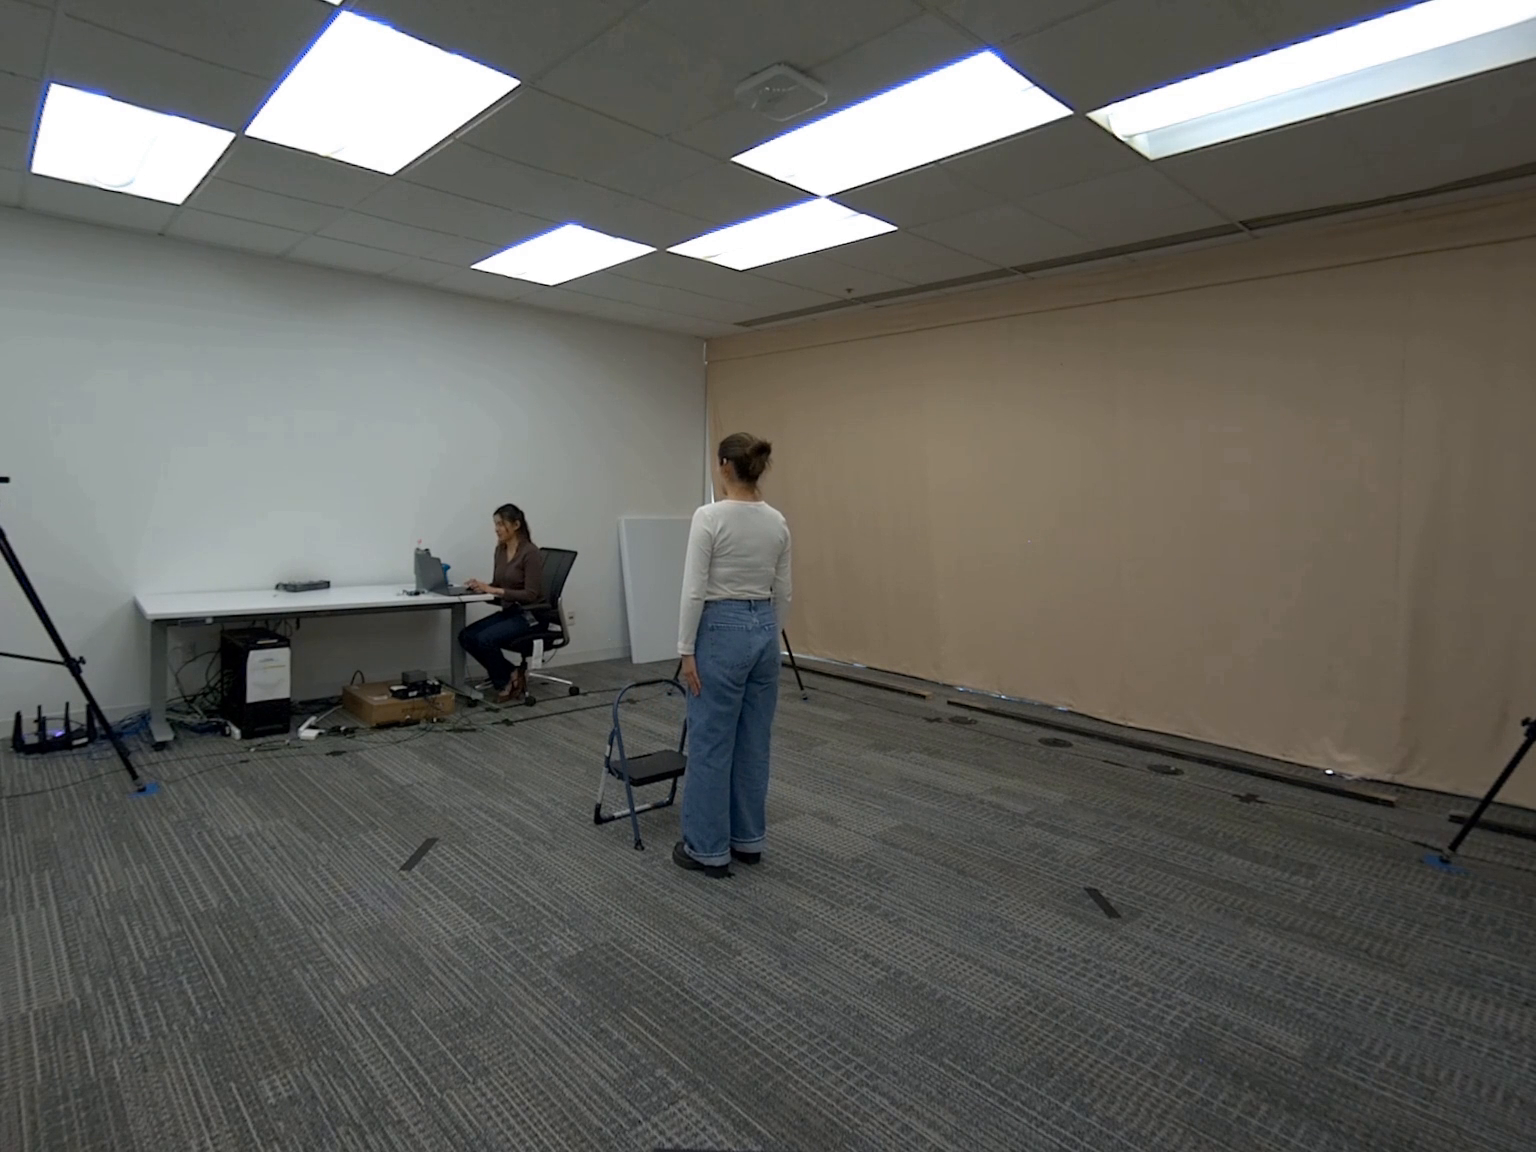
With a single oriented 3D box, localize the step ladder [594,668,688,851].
[{"bbox_3d":[-0.471,0.754,3.552,0.421,0.605,0.358,-2,5,-43],"label":"step ladder"}]
